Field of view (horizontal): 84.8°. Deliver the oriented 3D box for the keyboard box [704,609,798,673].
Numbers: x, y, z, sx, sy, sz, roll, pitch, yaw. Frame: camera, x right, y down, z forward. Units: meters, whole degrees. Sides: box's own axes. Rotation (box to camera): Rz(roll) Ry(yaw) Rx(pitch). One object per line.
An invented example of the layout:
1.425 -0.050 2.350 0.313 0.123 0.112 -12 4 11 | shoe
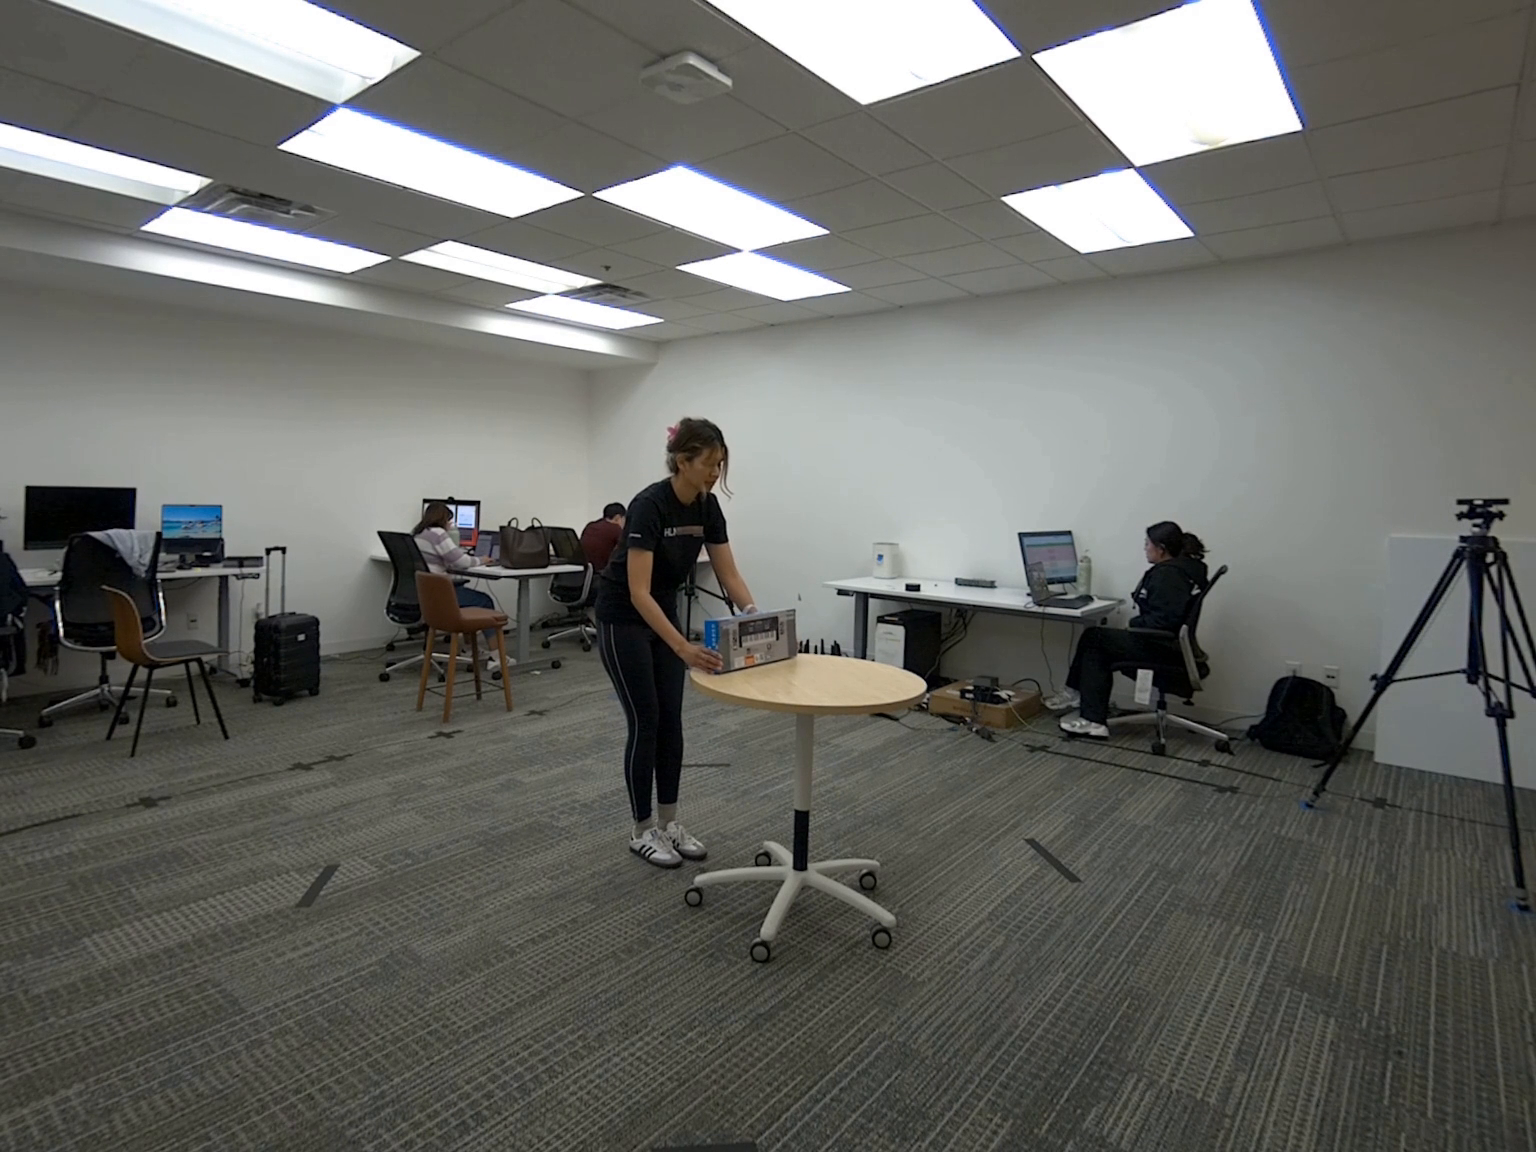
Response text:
-0.059 0.217 2.935 0.061 0.176 0.424 -3 1 39 | keyboard box
